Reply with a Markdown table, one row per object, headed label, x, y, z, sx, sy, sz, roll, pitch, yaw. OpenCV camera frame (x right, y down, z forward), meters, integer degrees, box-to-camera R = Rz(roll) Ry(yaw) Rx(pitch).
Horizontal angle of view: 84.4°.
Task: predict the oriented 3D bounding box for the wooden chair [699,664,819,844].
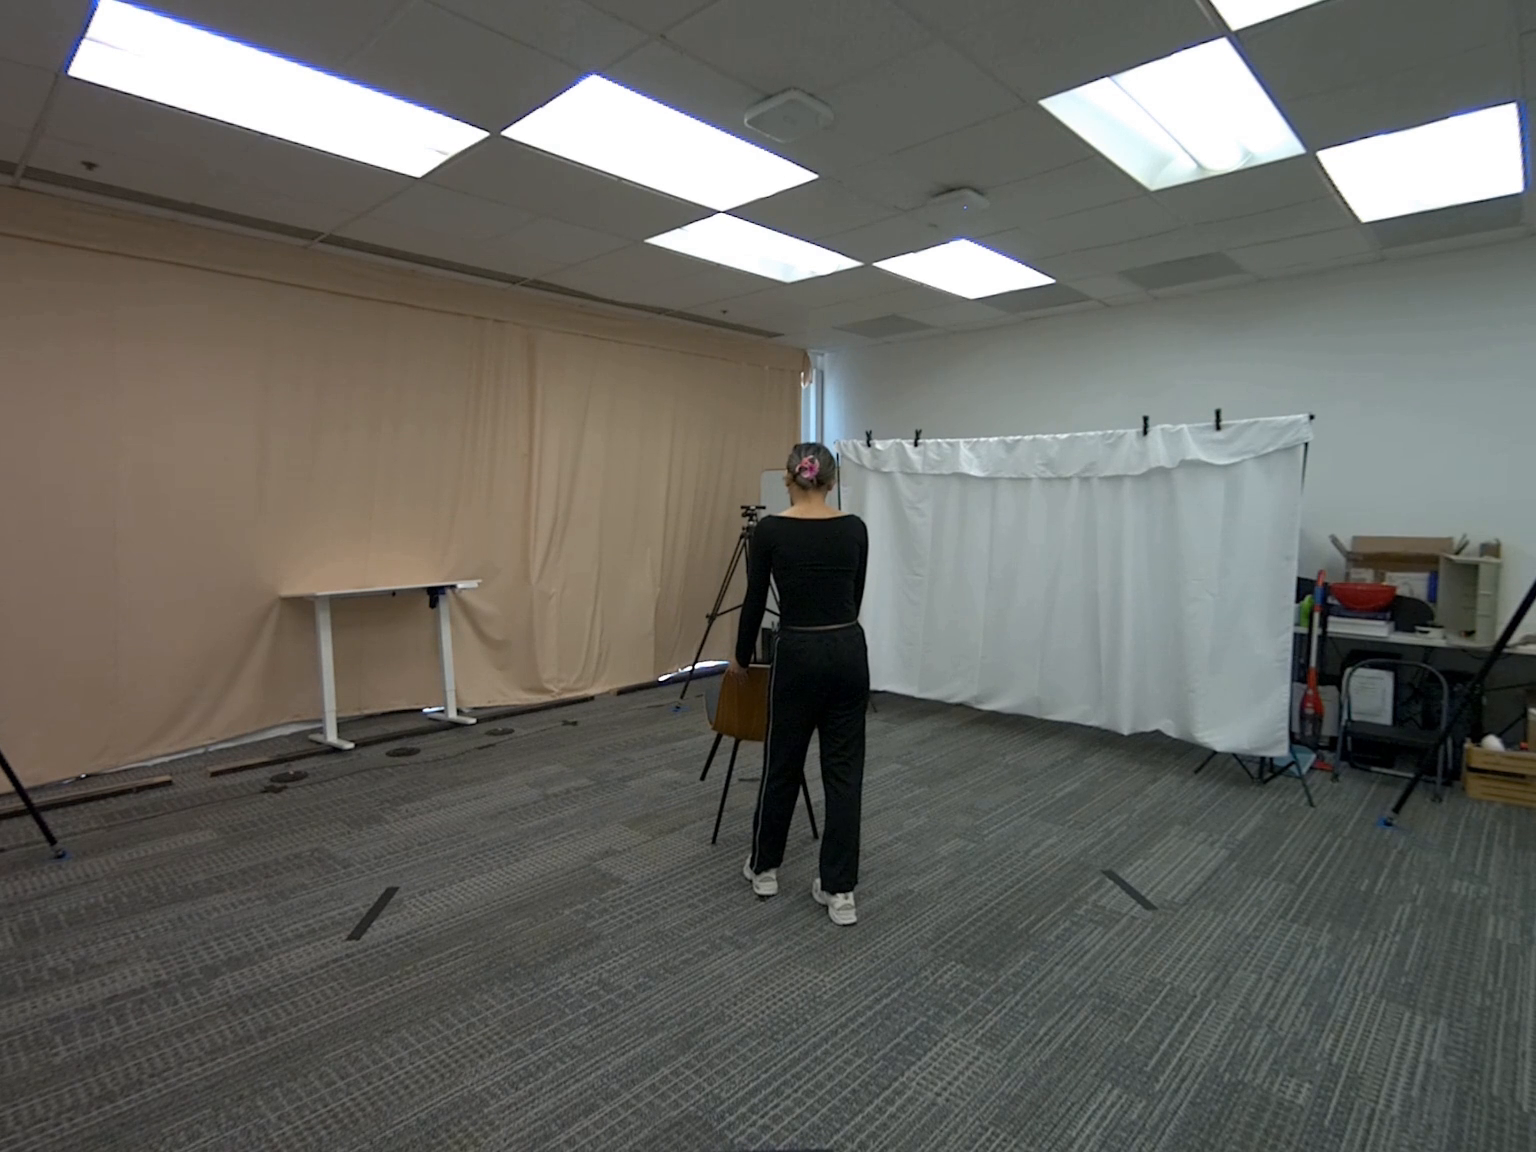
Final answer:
| label | x | y | z | sx | sy | sz | roll | pitch | yaw |
| --- | --- | --- | --- | --- | --- | --- | --- | --- | --- |
| wooden chair | -0.028 | 0.618 | 3.558 | 0.474 | 0.866 | 0.535 | -1 | 25 | -9 |
